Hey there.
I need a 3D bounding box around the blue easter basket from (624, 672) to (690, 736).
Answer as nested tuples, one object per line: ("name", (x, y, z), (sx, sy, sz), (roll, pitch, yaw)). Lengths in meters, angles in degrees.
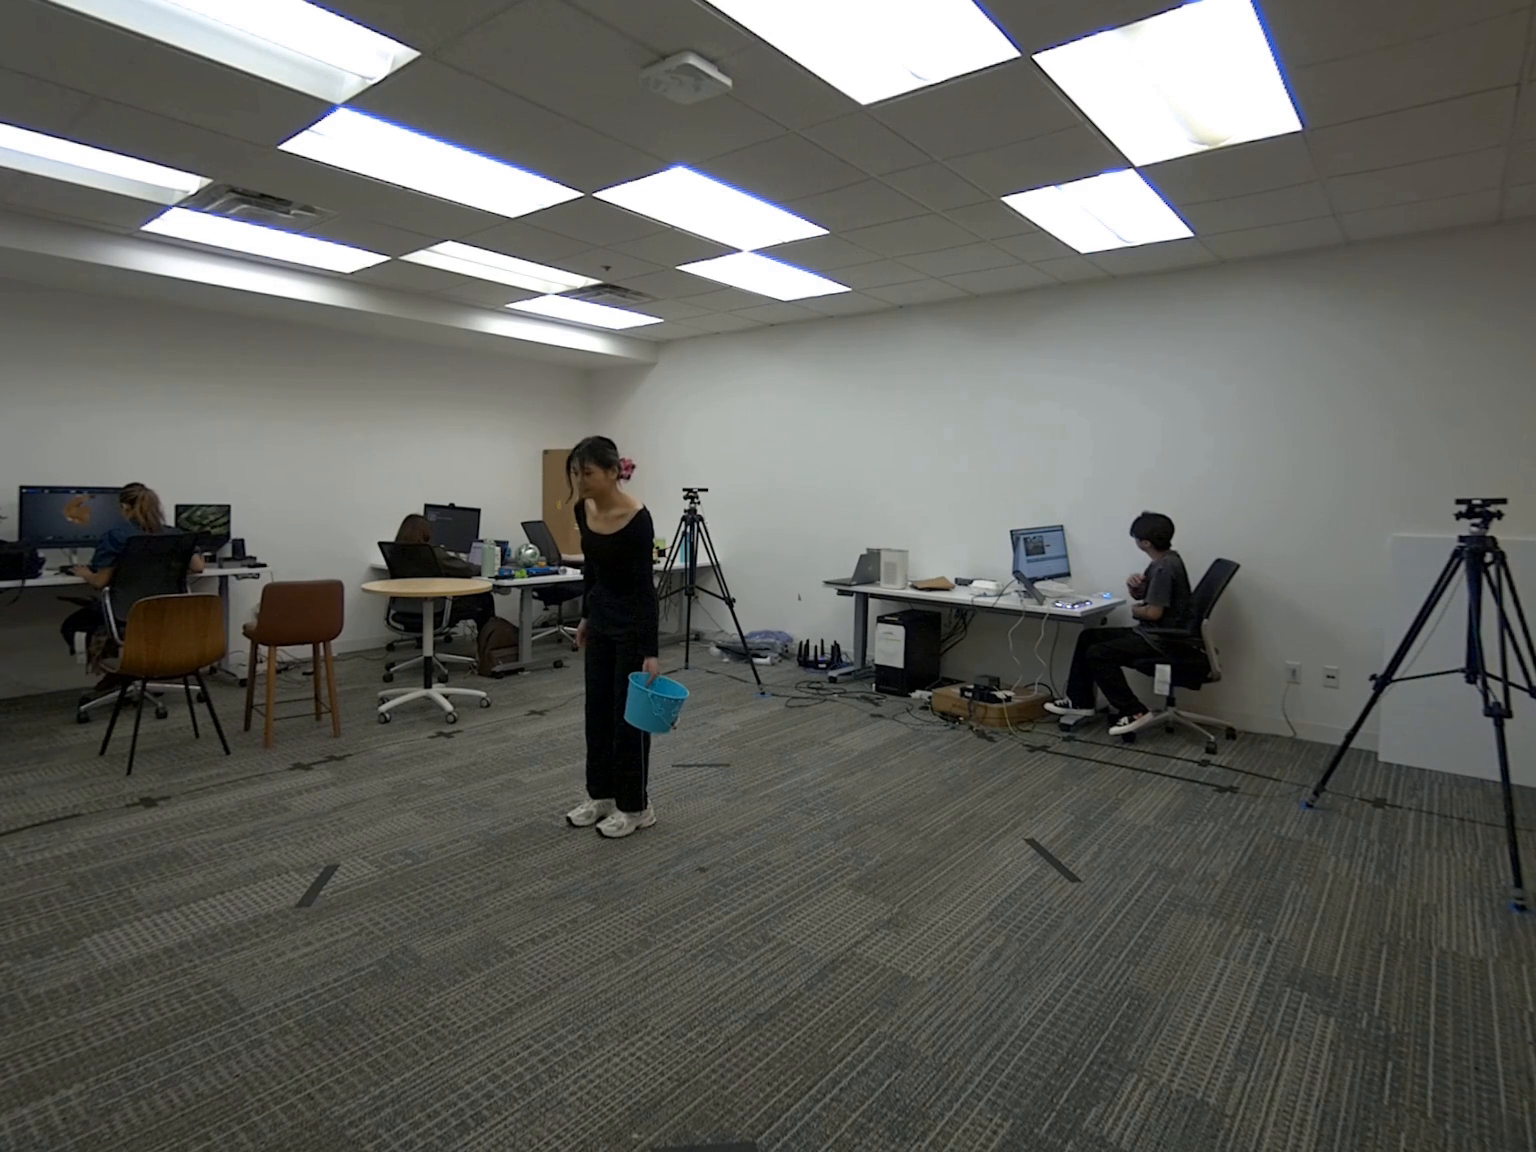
("blue easter basket", (-0.431, 0.481, 3.160), (0.243, 0.155, 0.245), (16, 7, -4))
